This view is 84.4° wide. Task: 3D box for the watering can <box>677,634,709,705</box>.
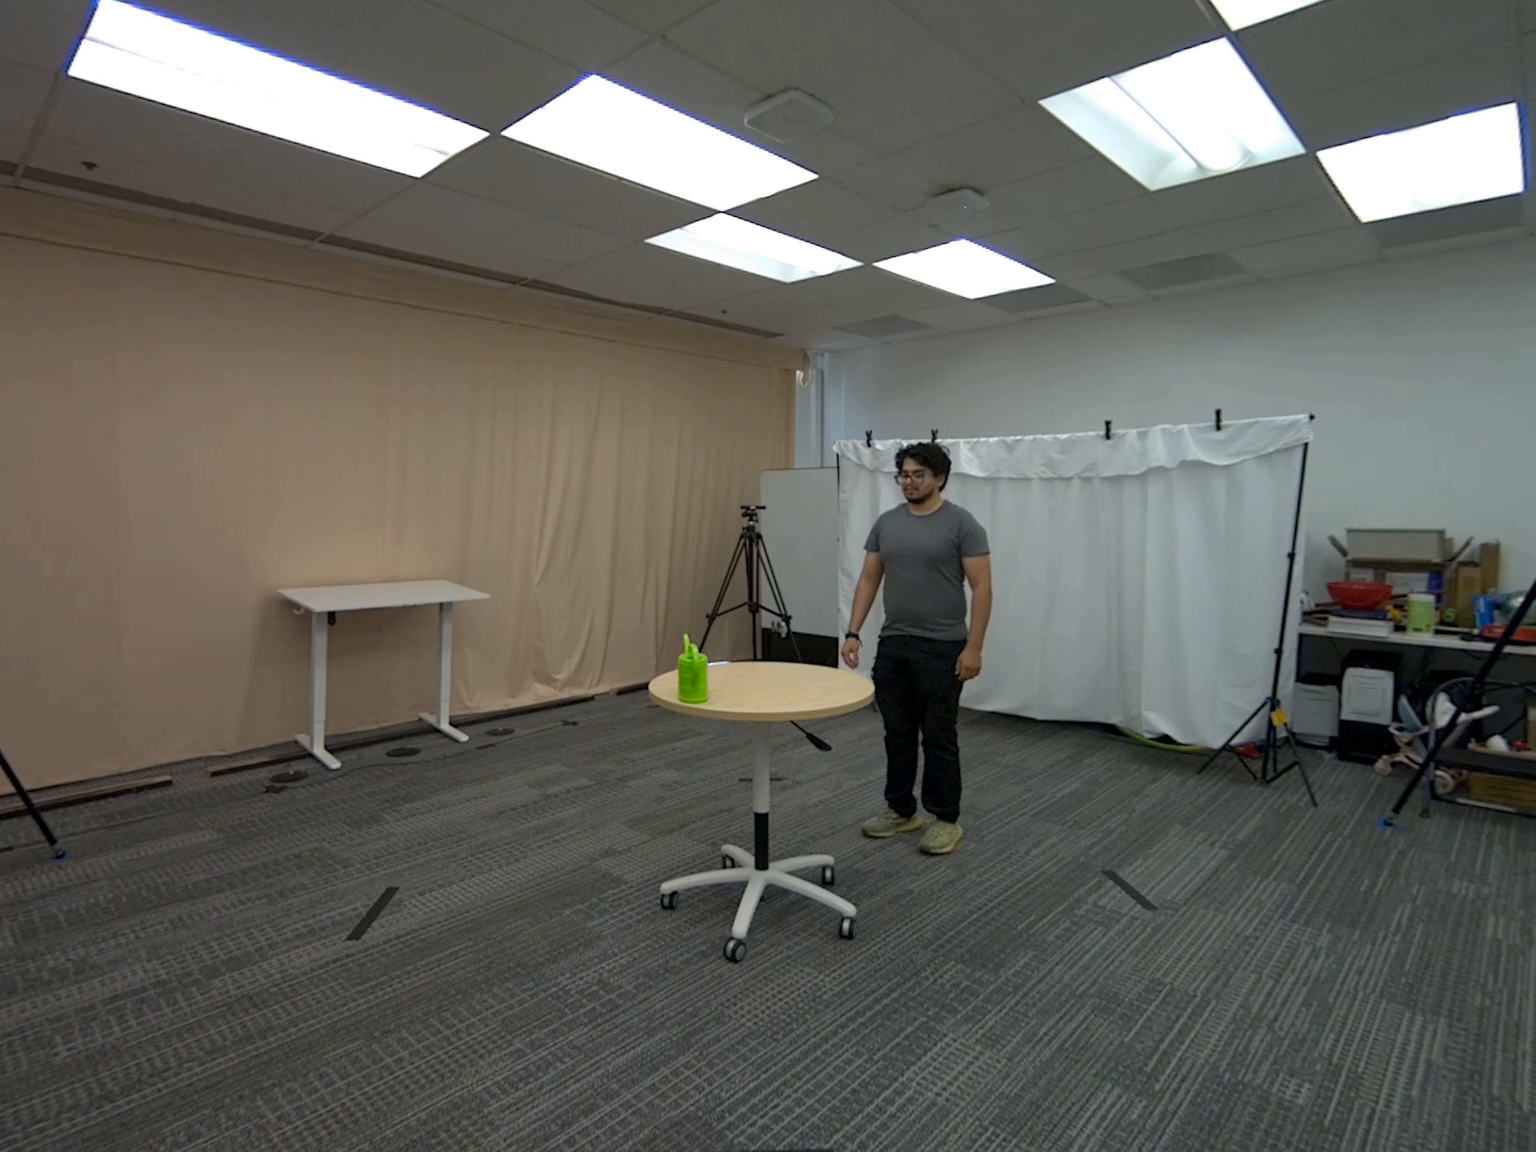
[{"bbox_3d":[-0.230,0.301,2.706,0.098,0.176,0.278,-1,6,2],"label":"watering can"}]
